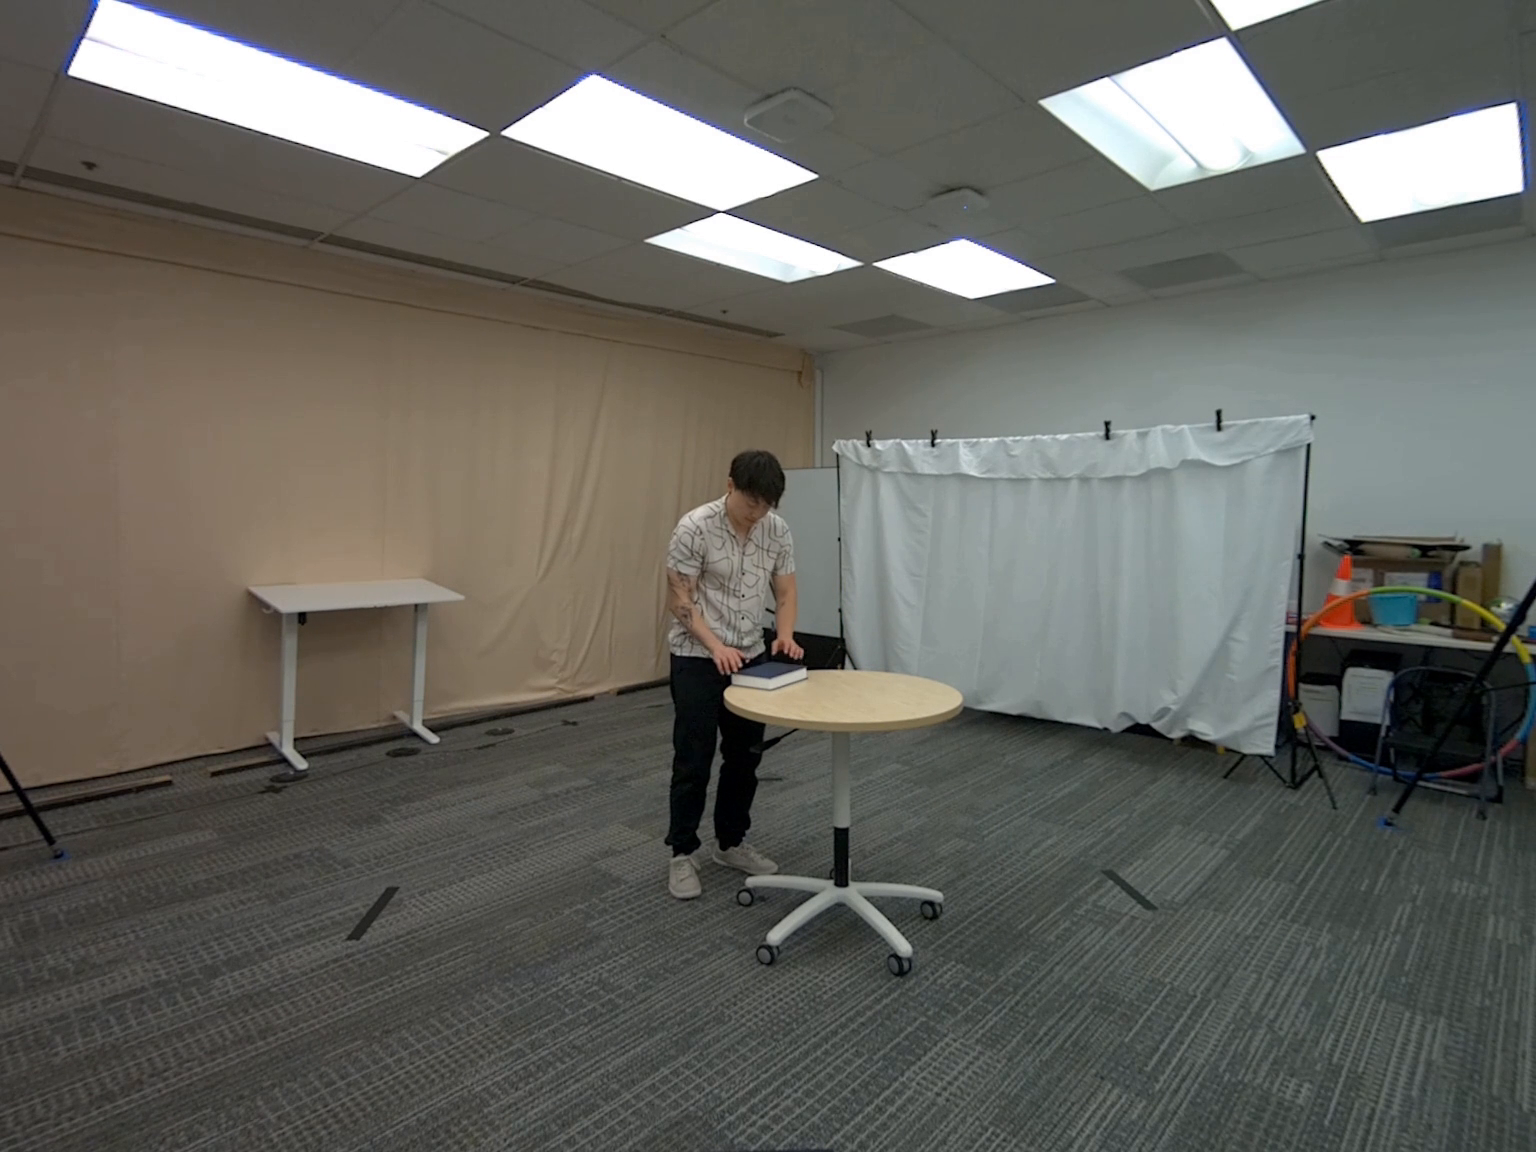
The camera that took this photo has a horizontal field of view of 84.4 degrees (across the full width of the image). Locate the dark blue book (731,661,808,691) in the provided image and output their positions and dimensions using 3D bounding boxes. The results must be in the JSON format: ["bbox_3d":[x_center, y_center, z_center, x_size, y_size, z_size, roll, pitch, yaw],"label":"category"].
[{"bbox_3d":[0.019,0.350,2.932,0.168,0.045,0.238,2,6,34],"label":"dark blue book"}]
